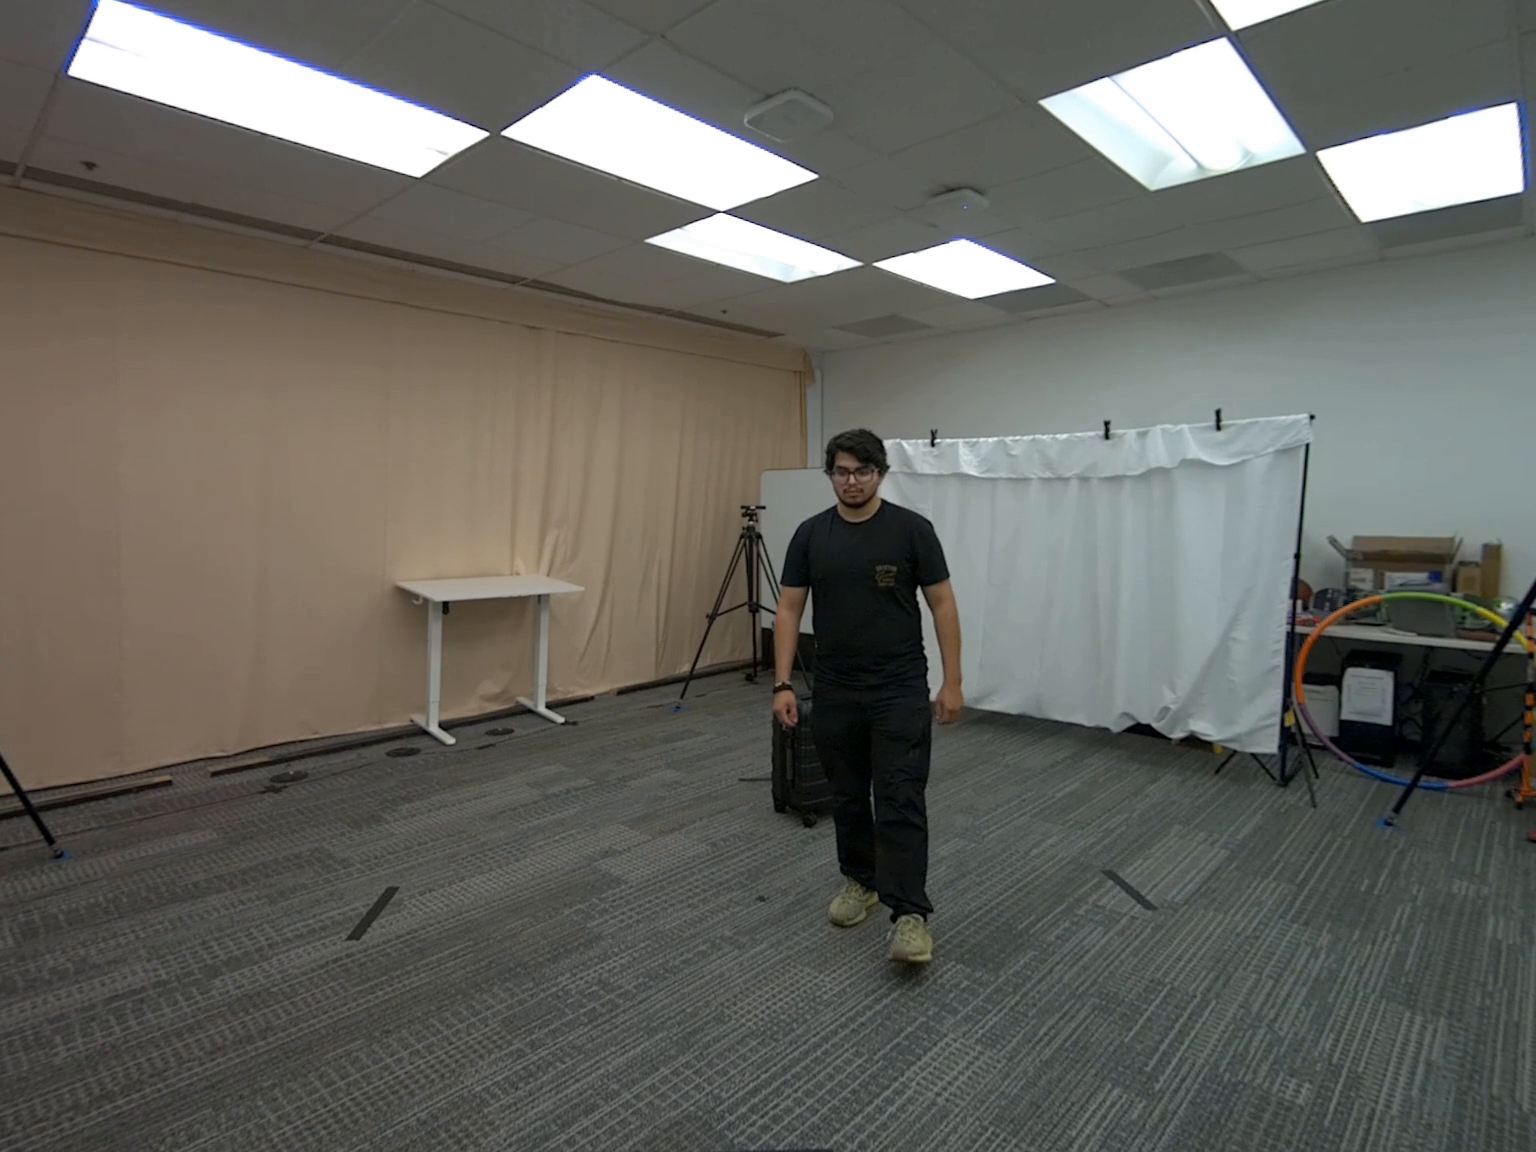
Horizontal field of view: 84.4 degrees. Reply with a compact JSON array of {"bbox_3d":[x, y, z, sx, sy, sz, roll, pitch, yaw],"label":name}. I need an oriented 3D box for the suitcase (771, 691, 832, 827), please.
[{"bbox_3d":[0.208,0.597,3.820,0.373,0.978,0.264,-3,1,-33],"label":"suitcase"}]
